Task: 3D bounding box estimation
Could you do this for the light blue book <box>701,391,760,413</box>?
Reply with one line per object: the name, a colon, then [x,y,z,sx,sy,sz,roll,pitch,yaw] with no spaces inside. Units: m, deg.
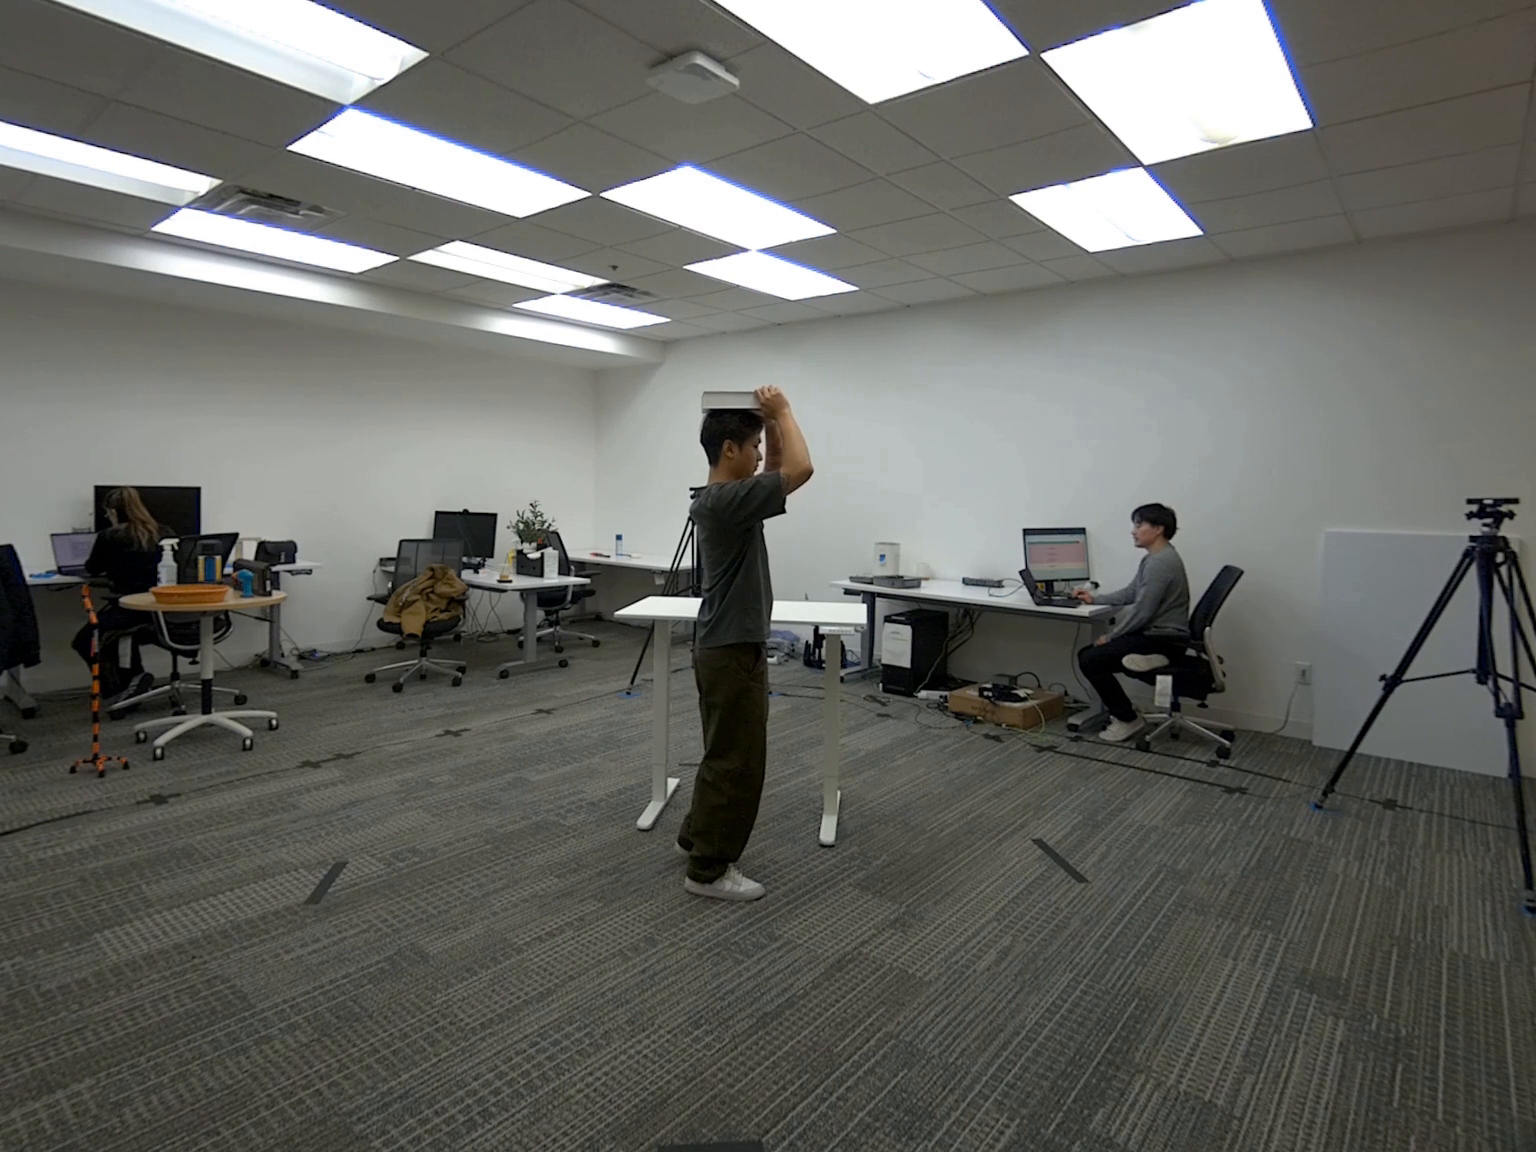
light blue book: [-0.097,-0.597,2.909,0.262,0.059,0.191,1,4,2]
